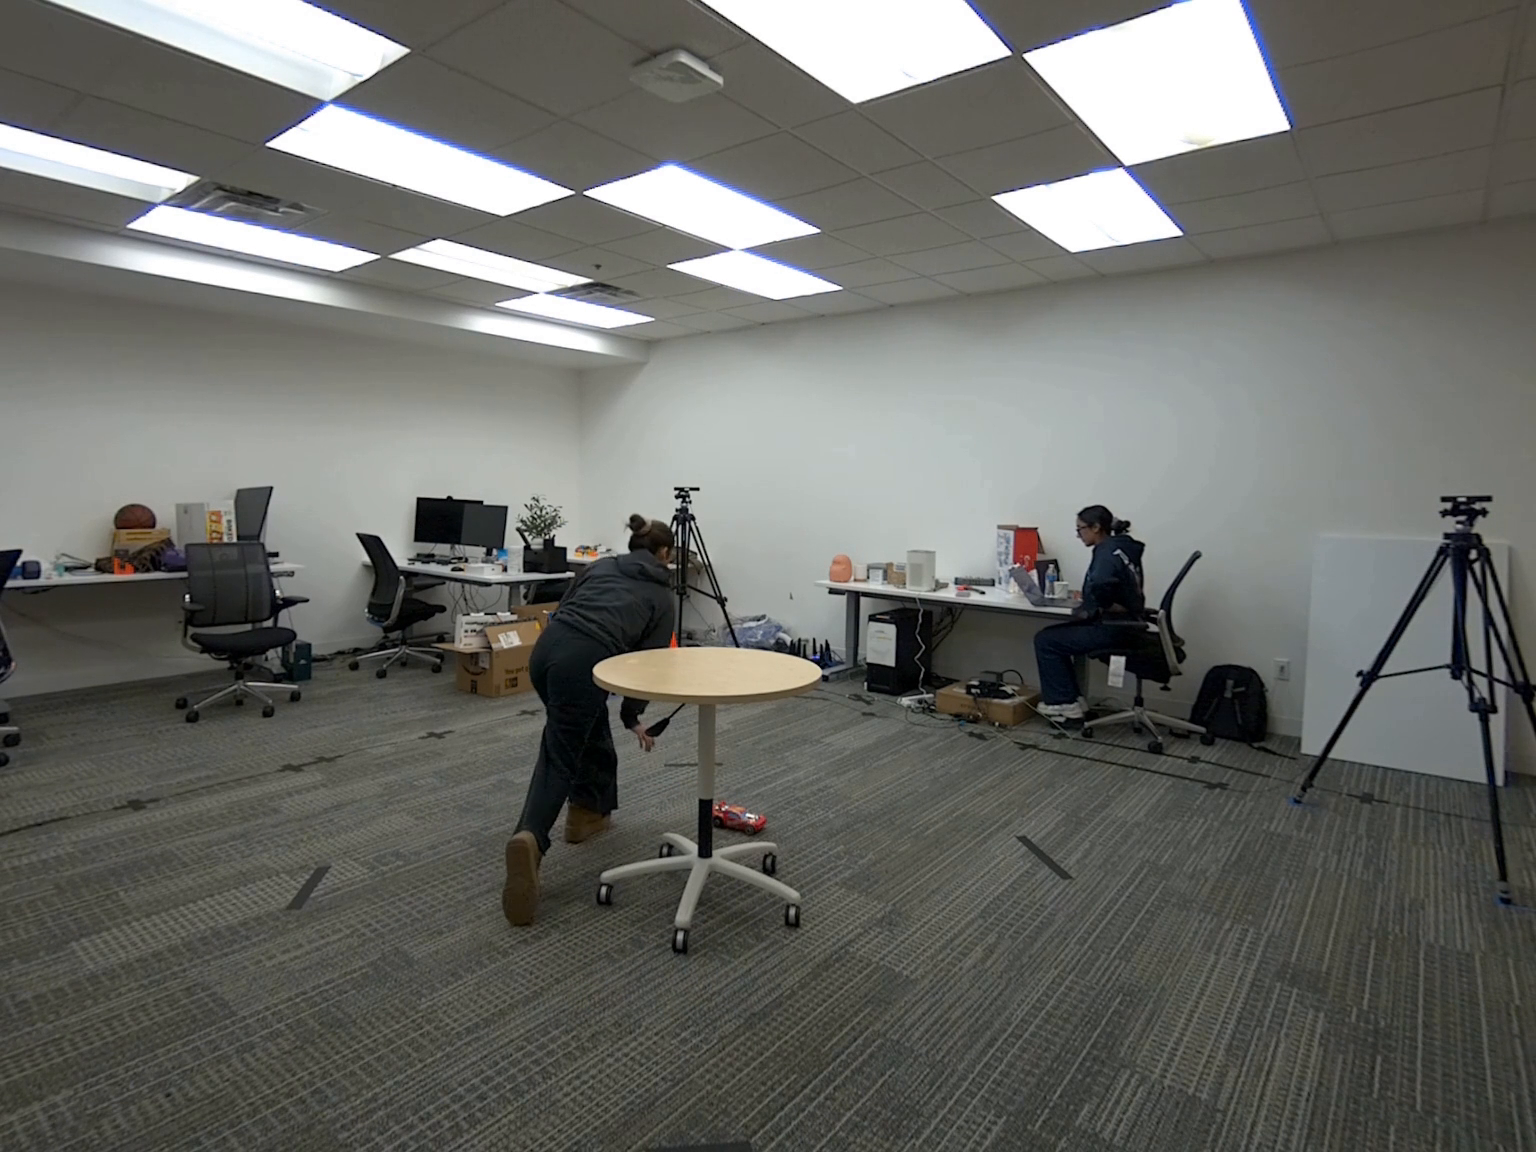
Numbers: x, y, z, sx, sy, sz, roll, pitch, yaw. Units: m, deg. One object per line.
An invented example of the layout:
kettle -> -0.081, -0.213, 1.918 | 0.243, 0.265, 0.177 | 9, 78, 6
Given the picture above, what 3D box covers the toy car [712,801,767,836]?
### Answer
toy car -> -0.137, 1.000, 3.513 | 0.263, 0.082, 0.127 | 15, 12, 27
